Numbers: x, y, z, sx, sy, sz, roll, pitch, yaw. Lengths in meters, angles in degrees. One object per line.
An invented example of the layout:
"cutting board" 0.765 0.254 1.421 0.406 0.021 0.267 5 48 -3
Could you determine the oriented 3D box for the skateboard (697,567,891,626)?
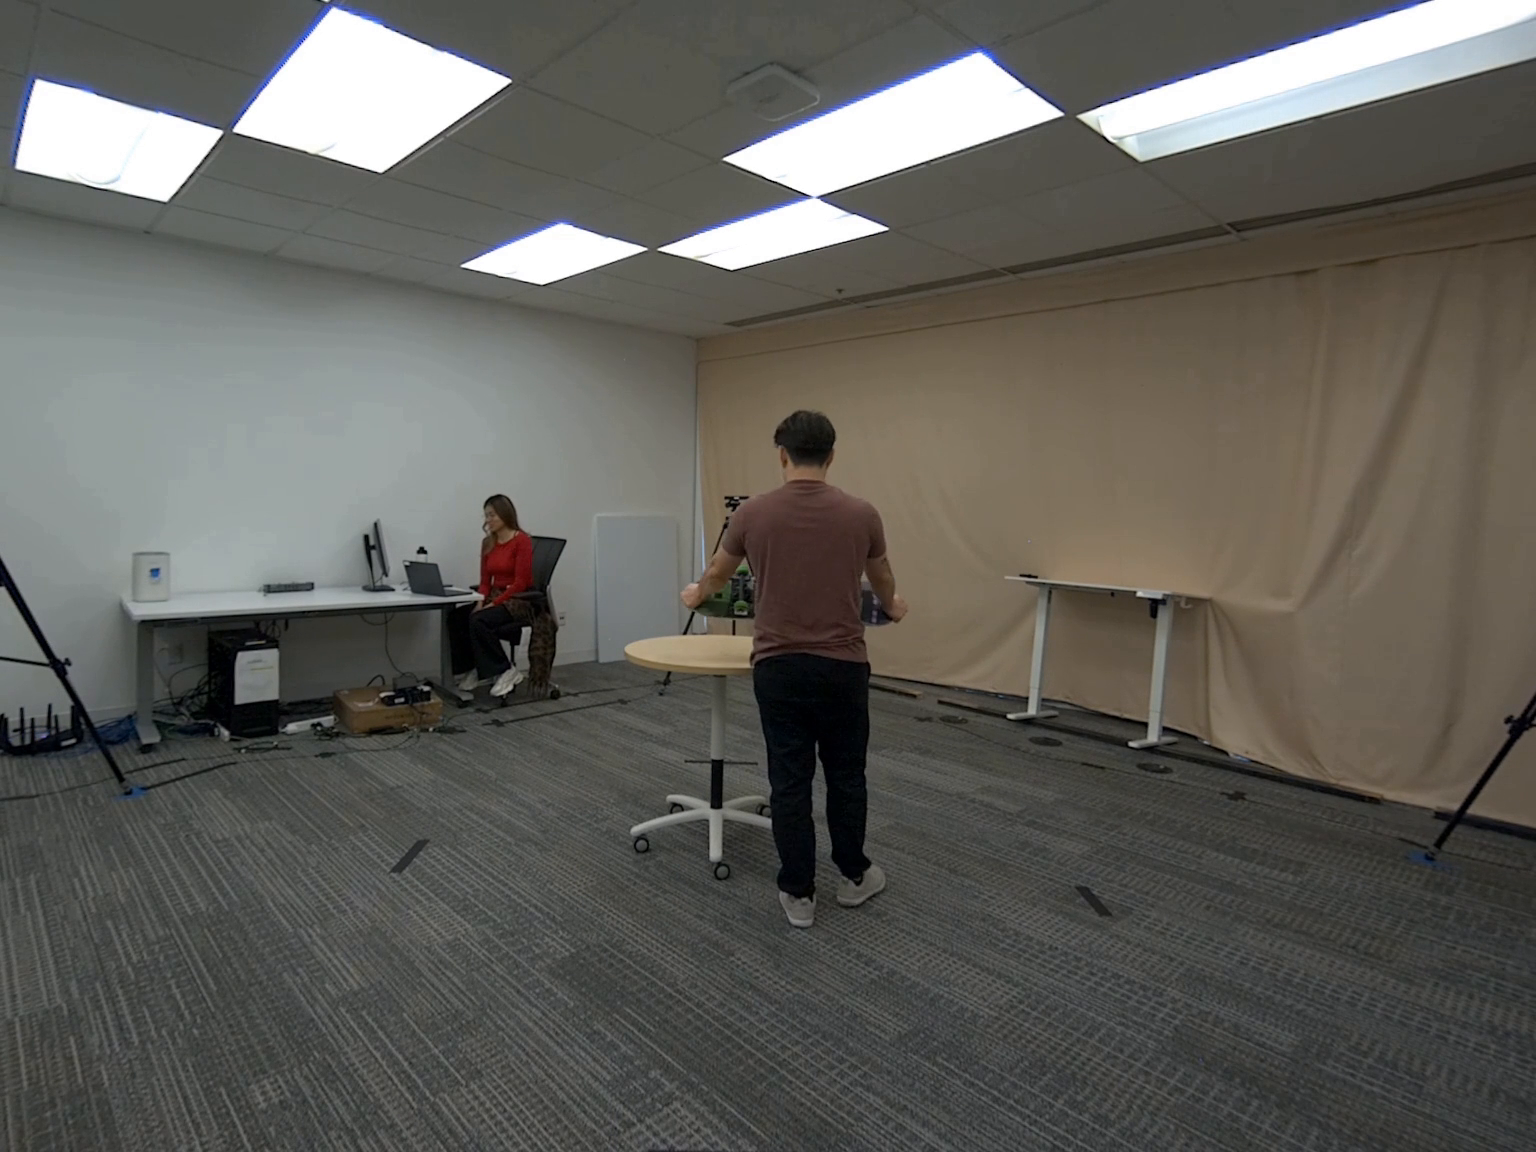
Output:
"skateboard" 0.113 0.080 3.127 0.785 0.197 0.108 4 -30 0
